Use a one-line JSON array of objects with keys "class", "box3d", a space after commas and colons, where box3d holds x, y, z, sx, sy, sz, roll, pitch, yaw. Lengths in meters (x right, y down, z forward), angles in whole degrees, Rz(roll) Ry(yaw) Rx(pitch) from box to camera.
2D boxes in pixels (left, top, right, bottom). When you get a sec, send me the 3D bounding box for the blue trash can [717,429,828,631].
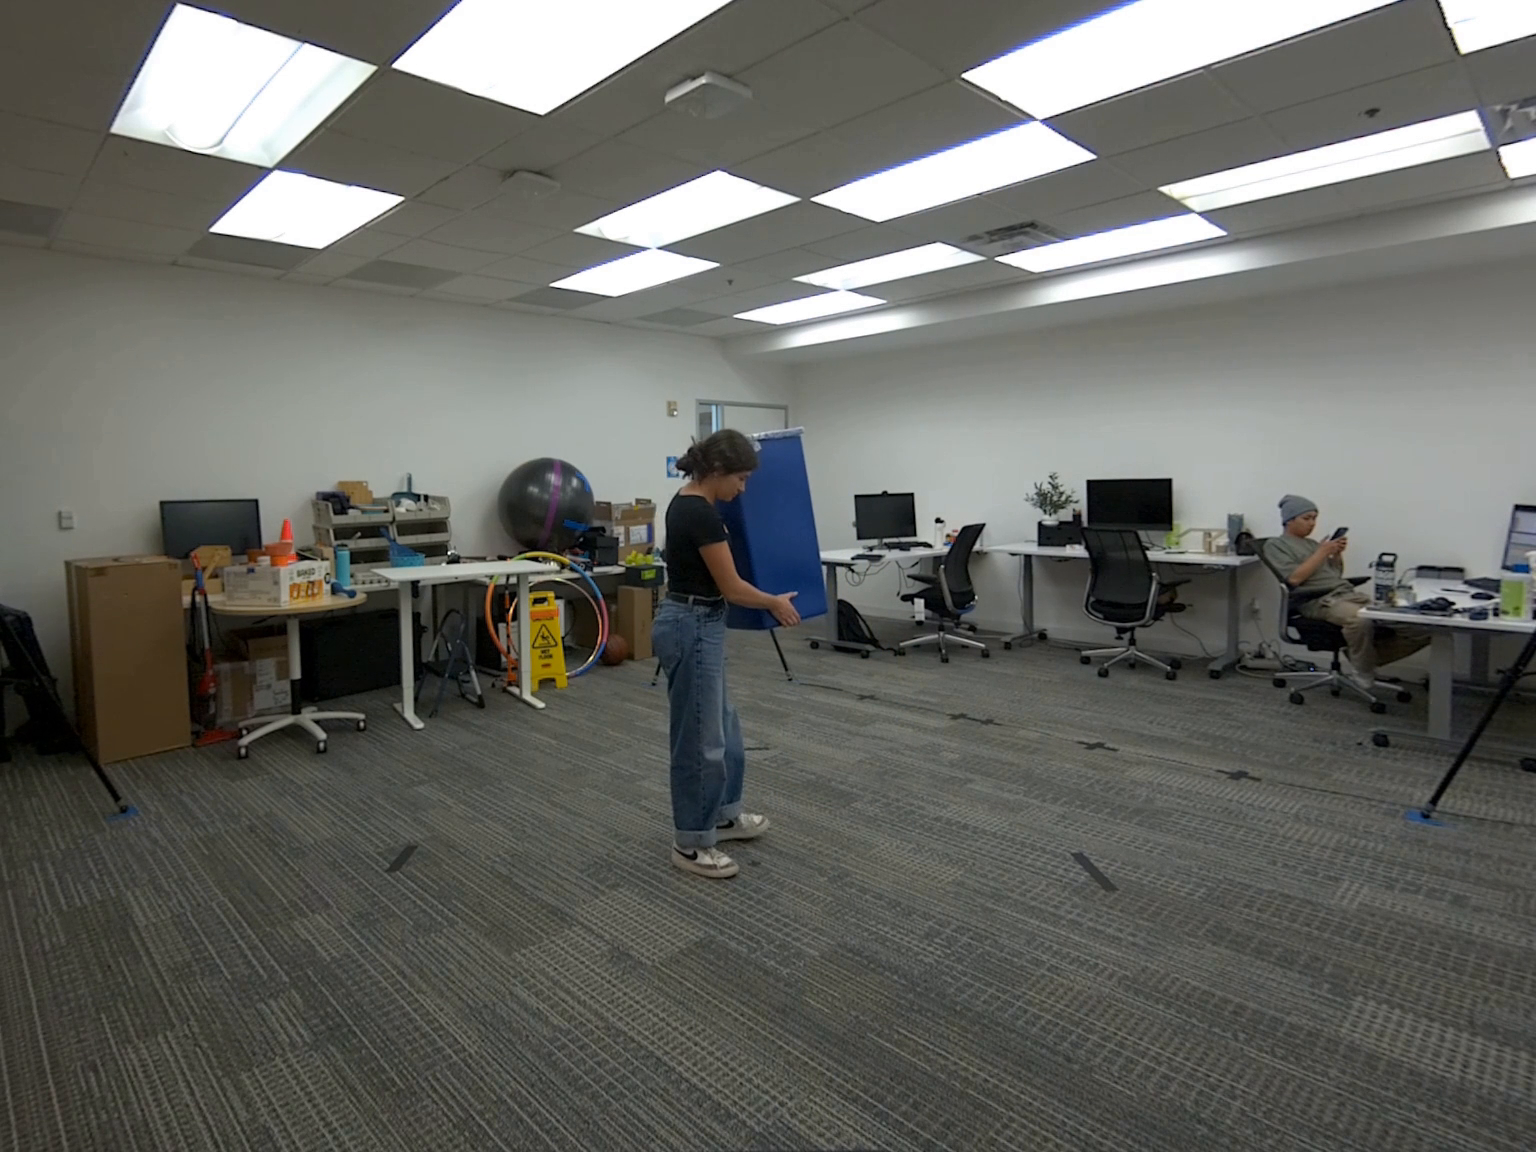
[{"class": "blue trash can", "box3d": [-0.030, -0.183, 3.330, 0.371, 0.712, 0.382, -12, 3, -29]}]
